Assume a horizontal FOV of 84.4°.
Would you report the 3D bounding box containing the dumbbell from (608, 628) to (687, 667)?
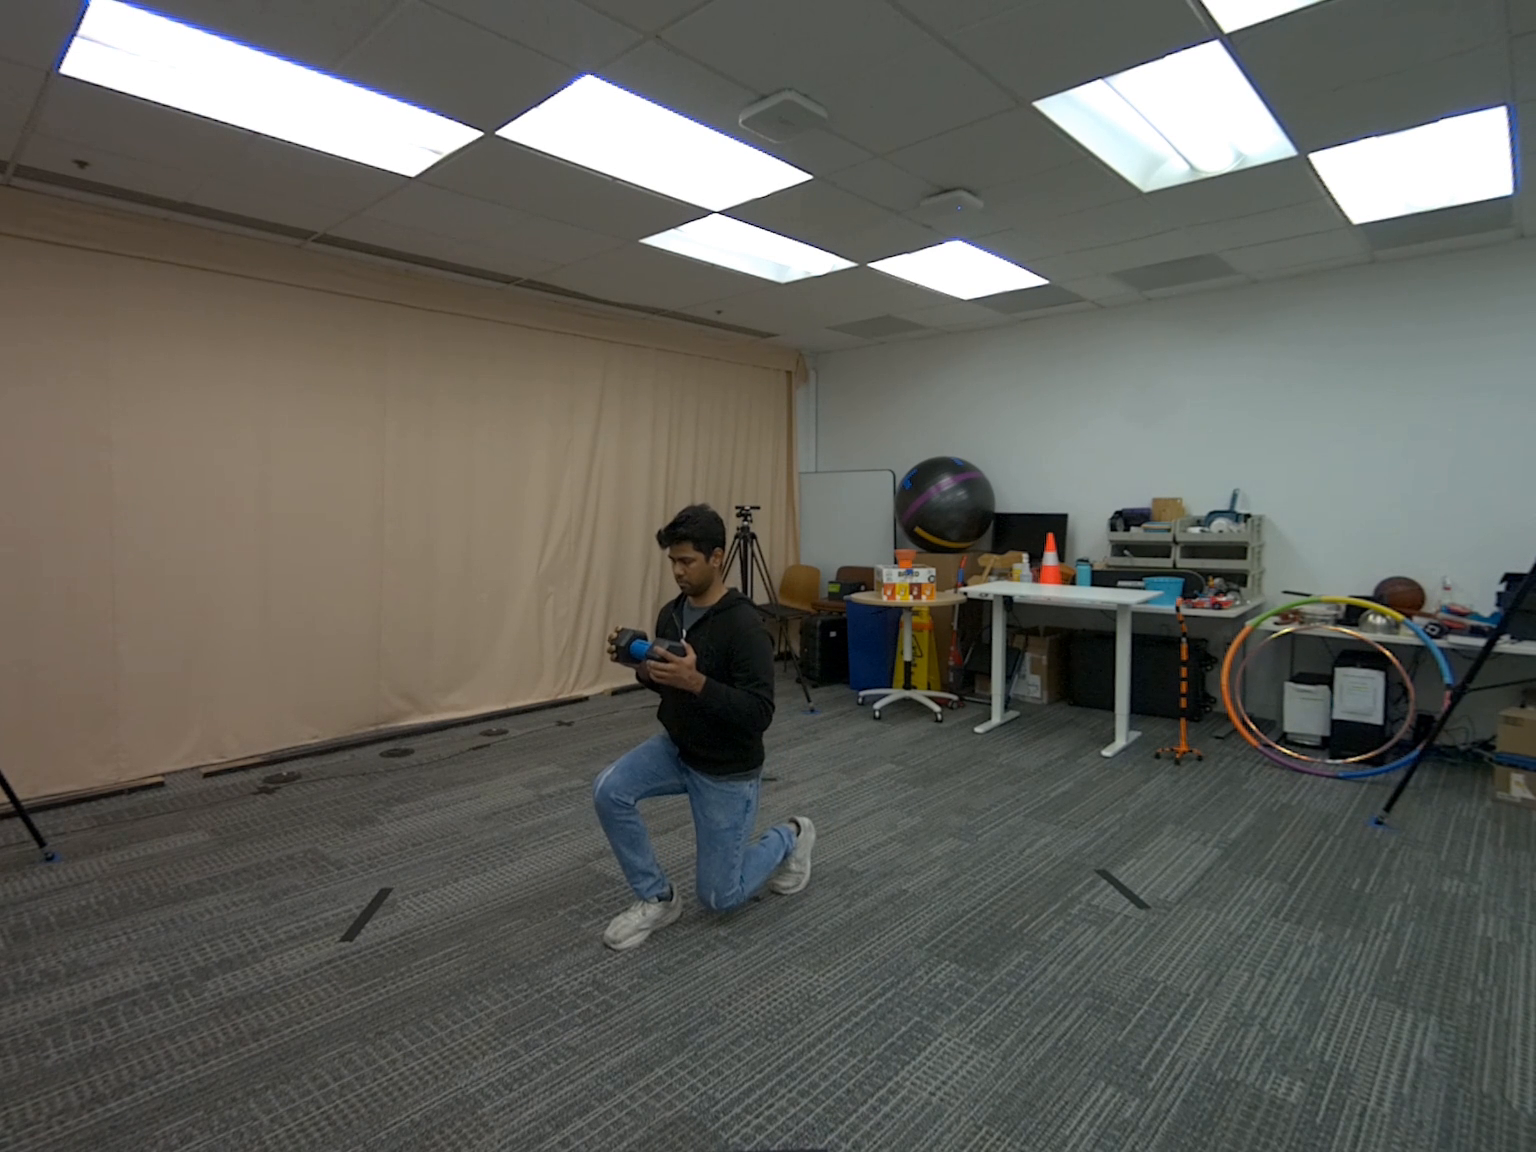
[{"bbox_3d":[-0.373,0.231,2.678,0.106,0.121,0.303,-24,19,-33],"label":"dumbbell"}]
